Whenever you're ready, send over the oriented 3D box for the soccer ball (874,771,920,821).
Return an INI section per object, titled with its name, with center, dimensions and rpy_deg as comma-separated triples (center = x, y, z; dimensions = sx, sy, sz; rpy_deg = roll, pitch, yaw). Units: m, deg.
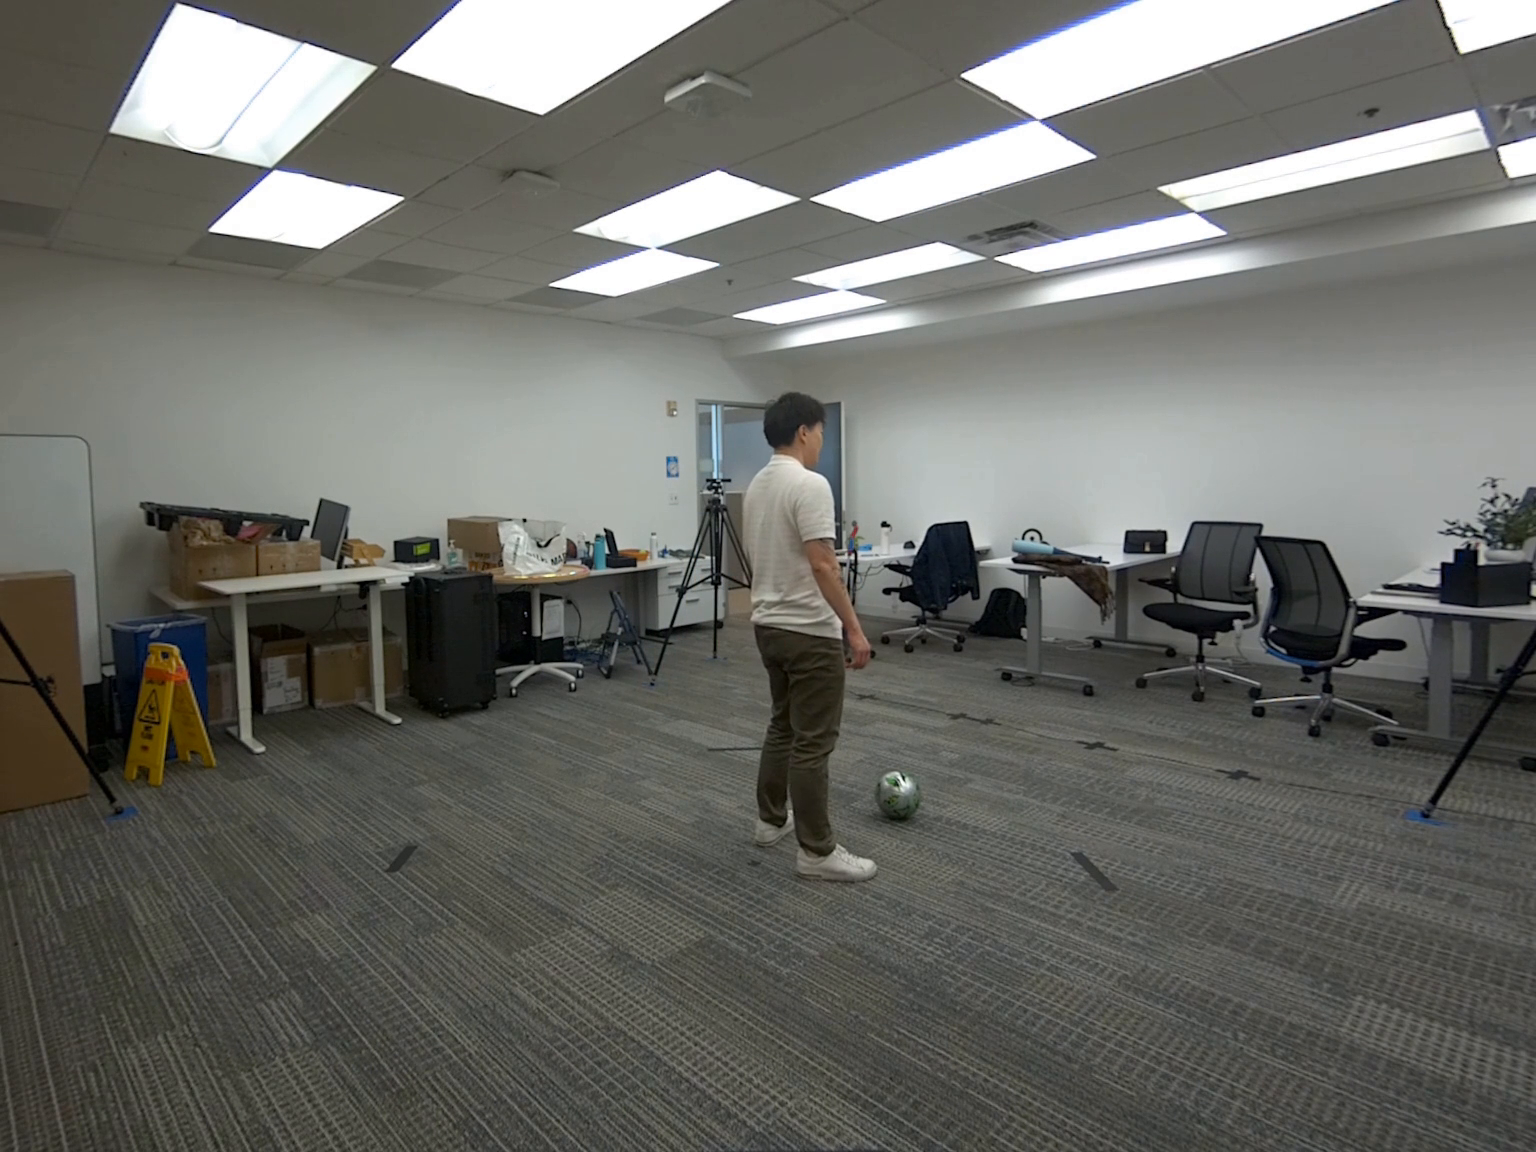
[soccer ball]
center = 0.535, 0.900, 3.509
dimensions = 0.187, 0.187, 0.188
rpy_deg = -1, 5, -2
